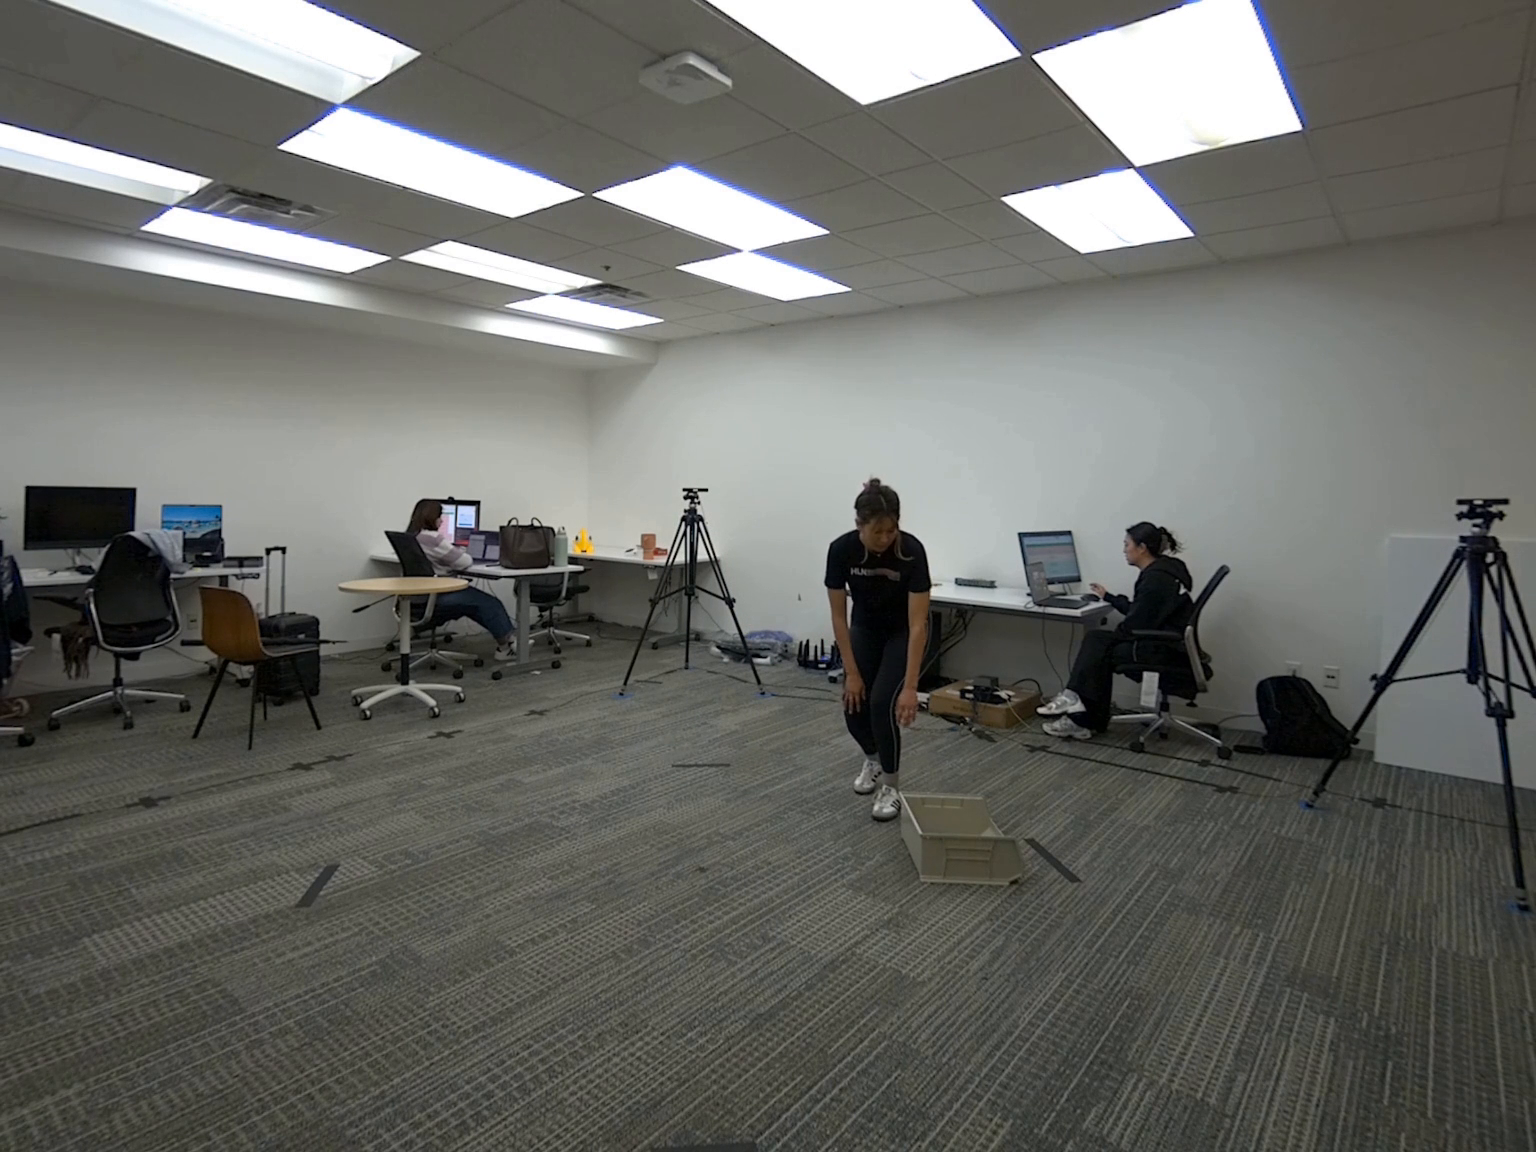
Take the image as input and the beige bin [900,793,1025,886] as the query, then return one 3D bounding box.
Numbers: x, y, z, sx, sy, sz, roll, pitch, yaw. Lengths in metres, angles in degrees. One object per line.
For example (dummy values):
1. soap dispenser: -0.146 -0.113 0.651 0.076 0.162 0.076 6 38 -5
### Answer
1. beige bin: 0.721 0.989 3.245 0.378 0.188 0.424 0 5 0
